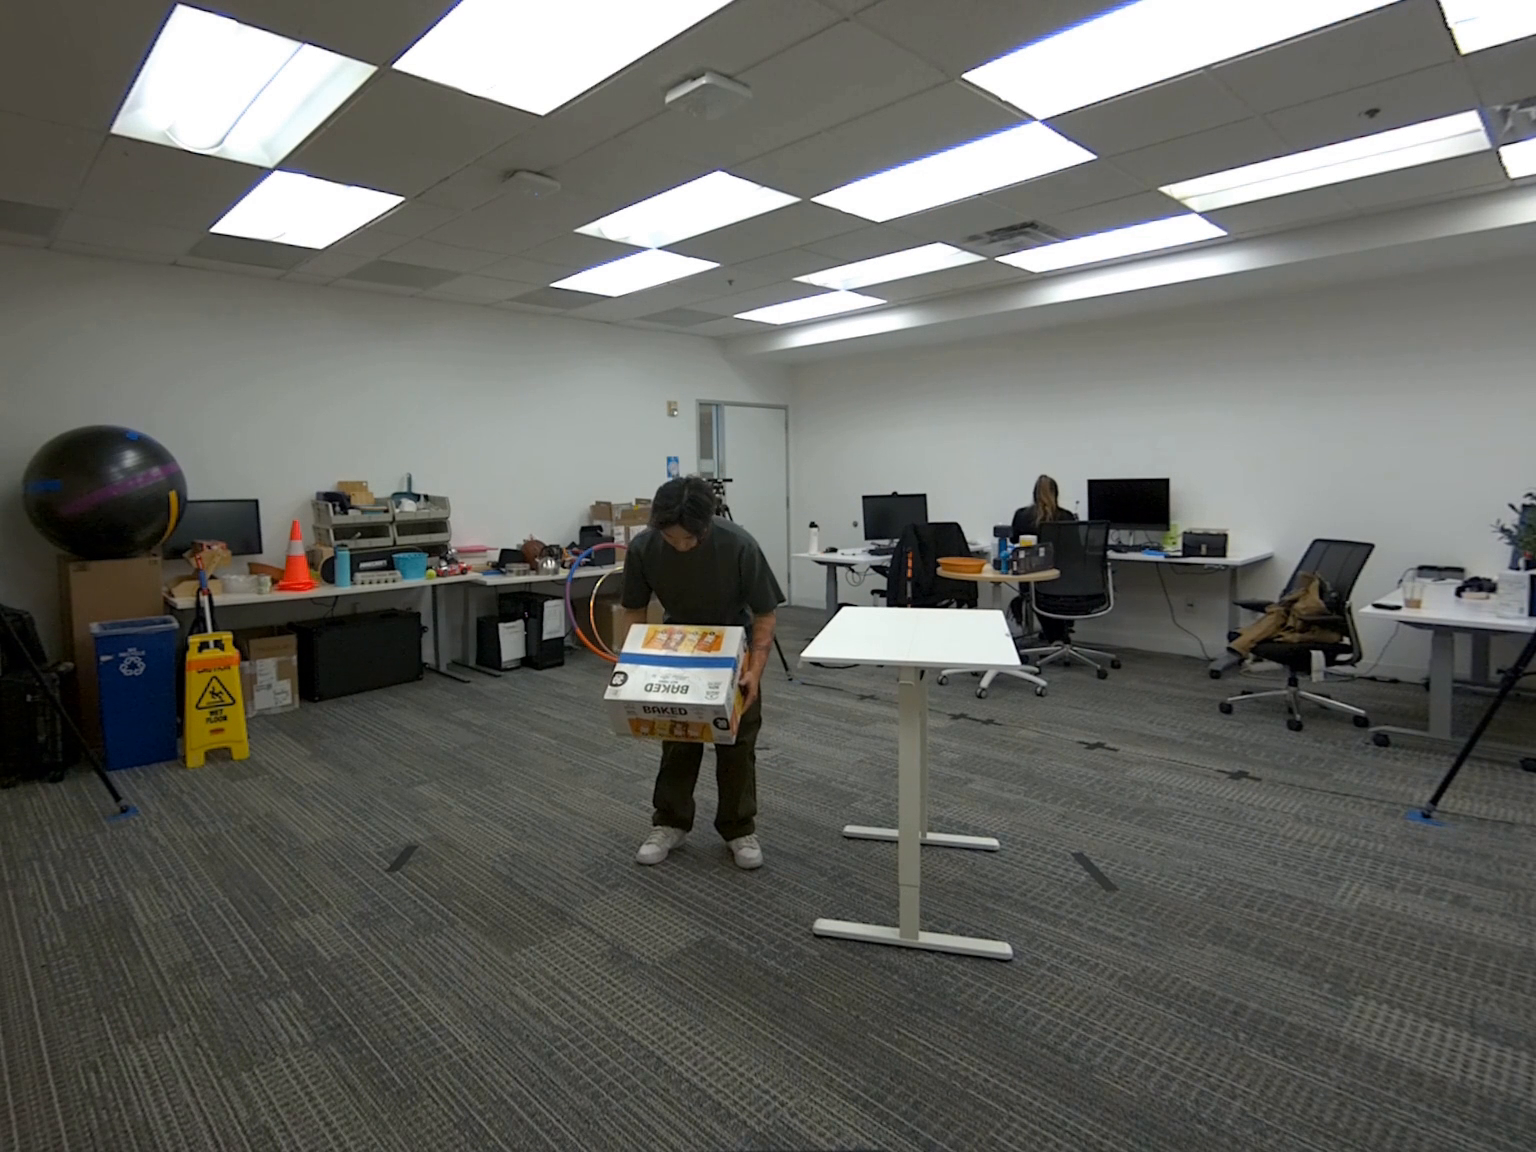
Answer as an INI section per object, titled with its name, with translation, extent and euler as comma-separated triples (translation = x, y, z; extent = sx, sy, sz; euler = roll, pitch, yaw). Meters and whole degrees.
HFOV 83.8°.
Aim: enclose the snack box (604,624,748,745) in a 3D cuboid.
[snack box]
translation = -0.301, 0.357, 2.870
extent = 0.411, 0.199, 0.346
euler = 0, 40, 13
